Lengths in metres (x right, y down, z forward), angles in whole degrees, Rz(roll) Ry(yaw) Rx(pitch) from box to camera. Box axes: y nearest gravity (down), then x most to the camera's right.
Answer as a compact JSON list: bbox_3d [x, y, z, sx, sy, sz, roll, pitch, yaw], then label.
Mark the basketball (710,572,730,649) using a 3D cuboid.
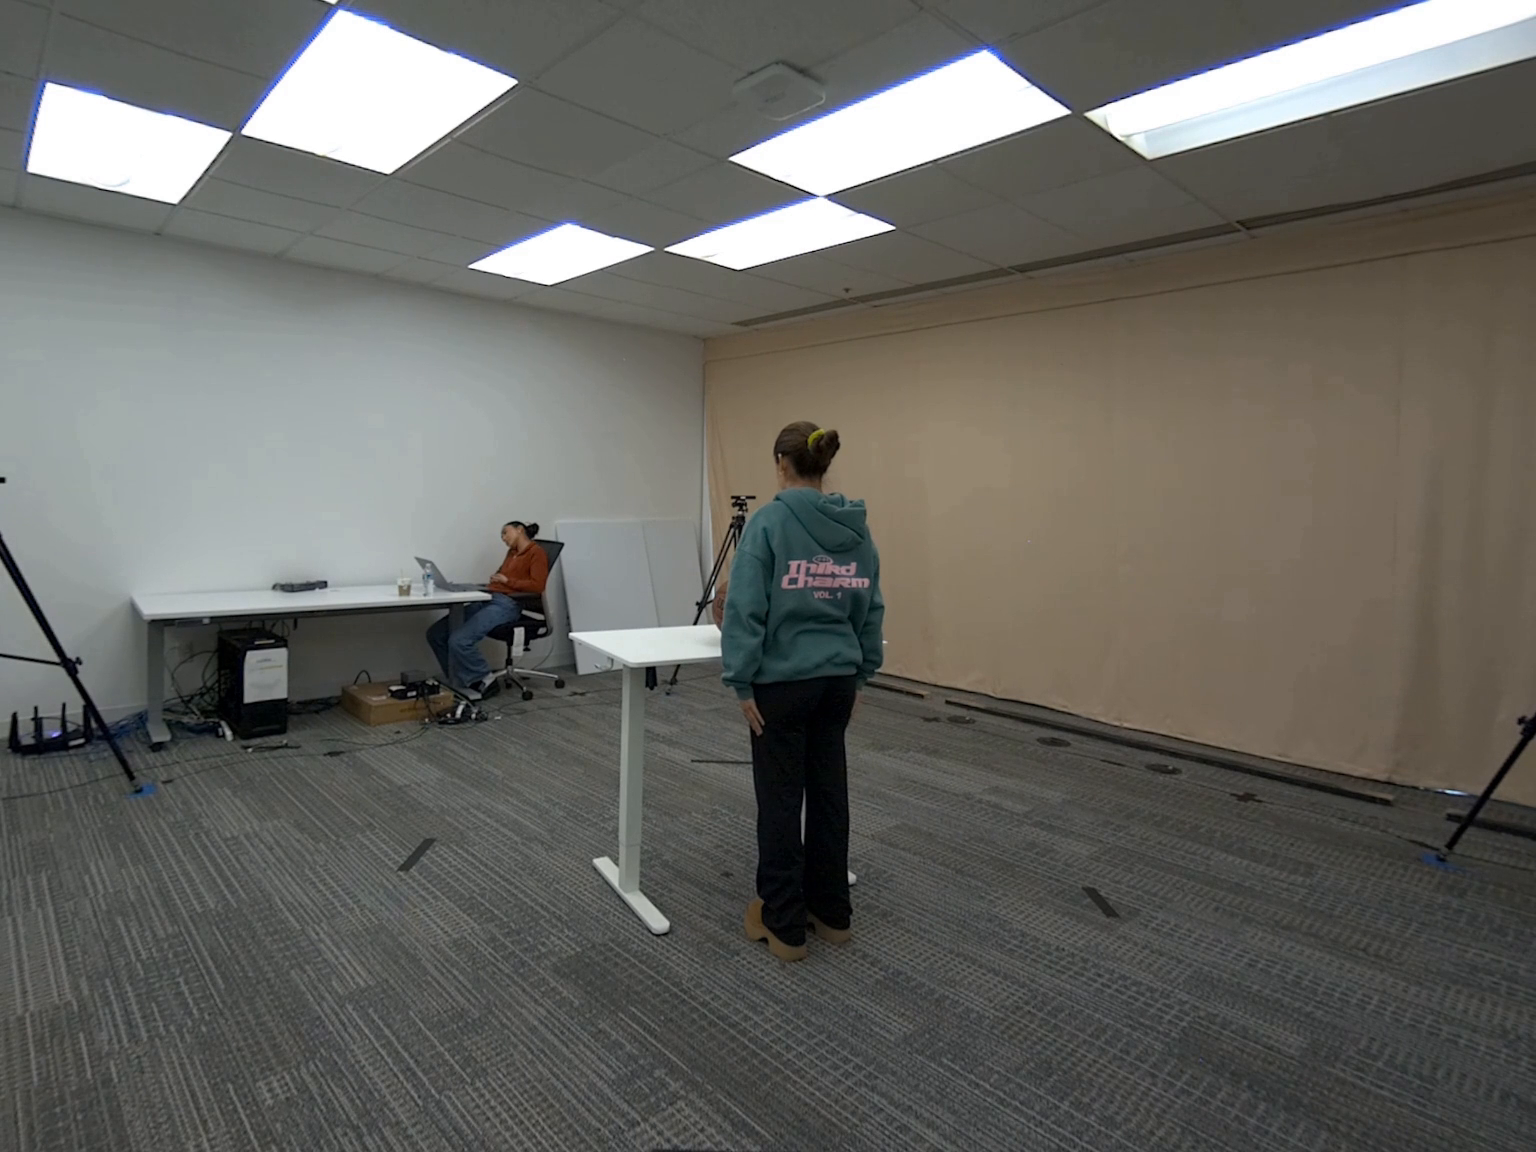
[{"bbox_3d":[-0.082,0.117,2.978,0.236,0.235,0.237,1,4,-1],"label":"basketball"}]
